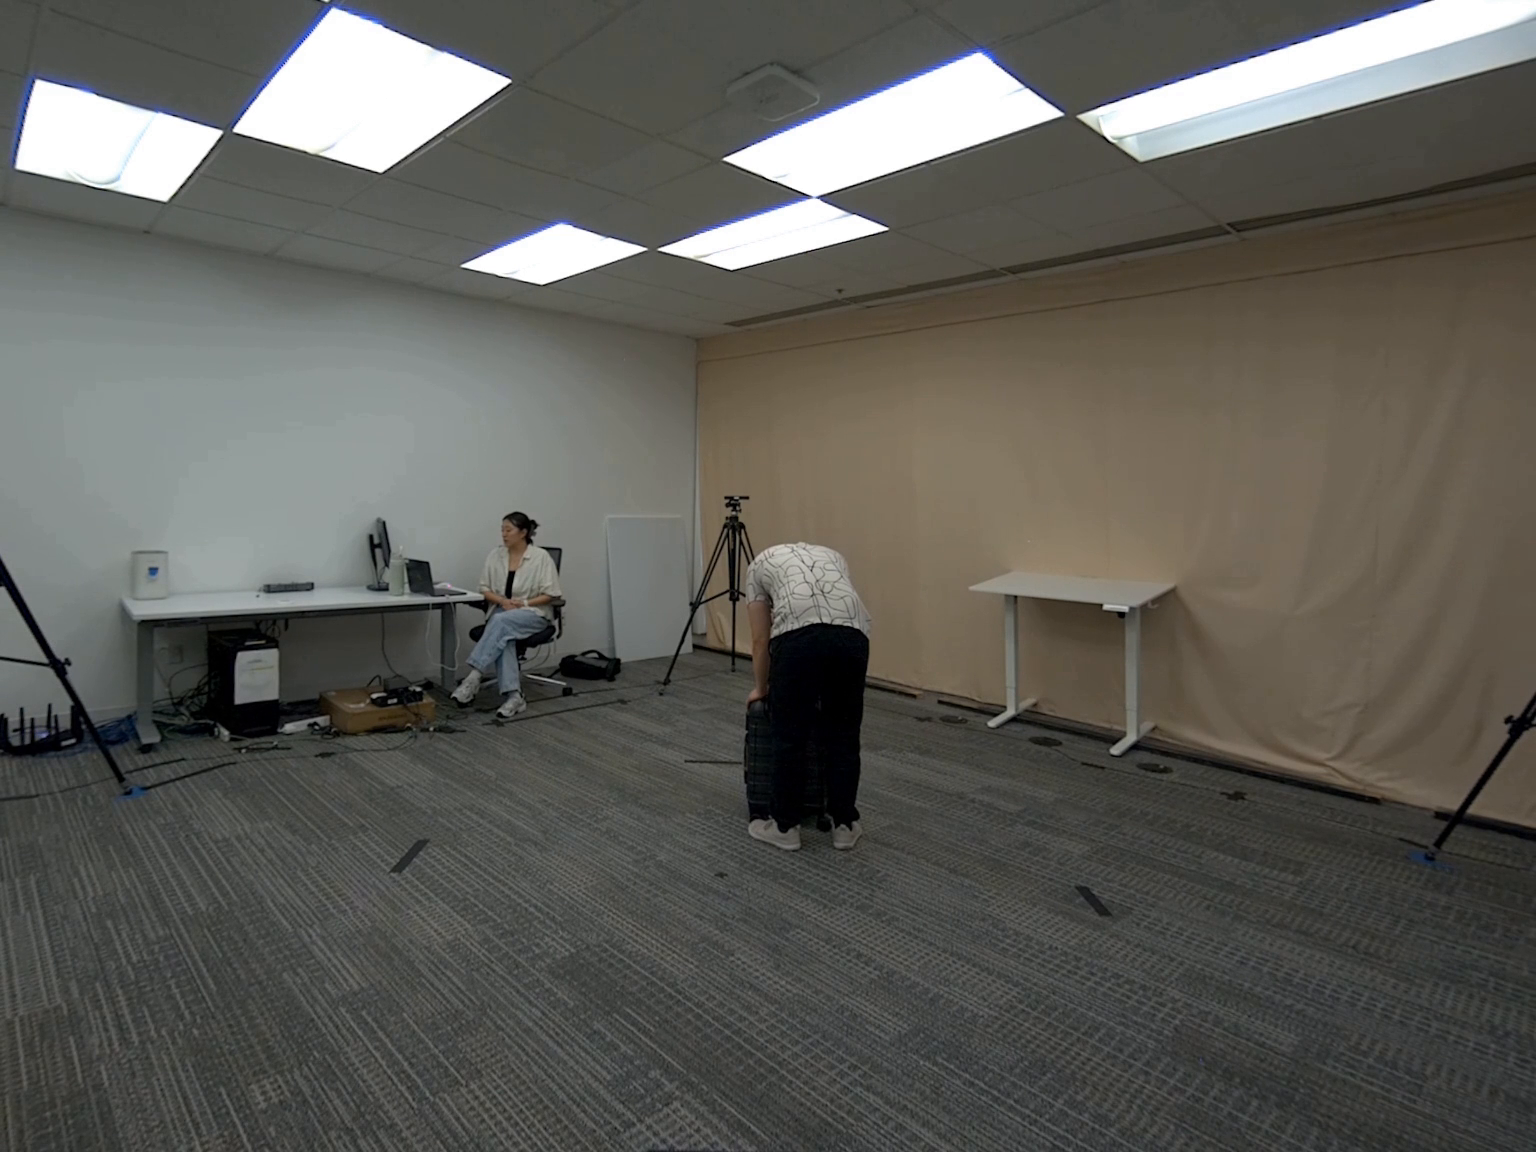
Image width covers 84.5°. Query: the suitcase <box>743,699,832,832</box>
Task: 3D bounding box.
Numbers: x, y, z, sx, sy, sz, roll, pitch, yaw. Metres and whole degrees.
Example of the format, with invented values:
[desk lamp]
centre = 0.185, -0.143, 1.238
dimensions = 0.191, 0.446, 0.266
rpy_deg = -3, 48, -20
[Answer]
[suitcase]
centre = 0.083, 0.785, 3.687
dimensions = 0.377, 0.549, 0.247
rpy_deg = 1, 1, 4
